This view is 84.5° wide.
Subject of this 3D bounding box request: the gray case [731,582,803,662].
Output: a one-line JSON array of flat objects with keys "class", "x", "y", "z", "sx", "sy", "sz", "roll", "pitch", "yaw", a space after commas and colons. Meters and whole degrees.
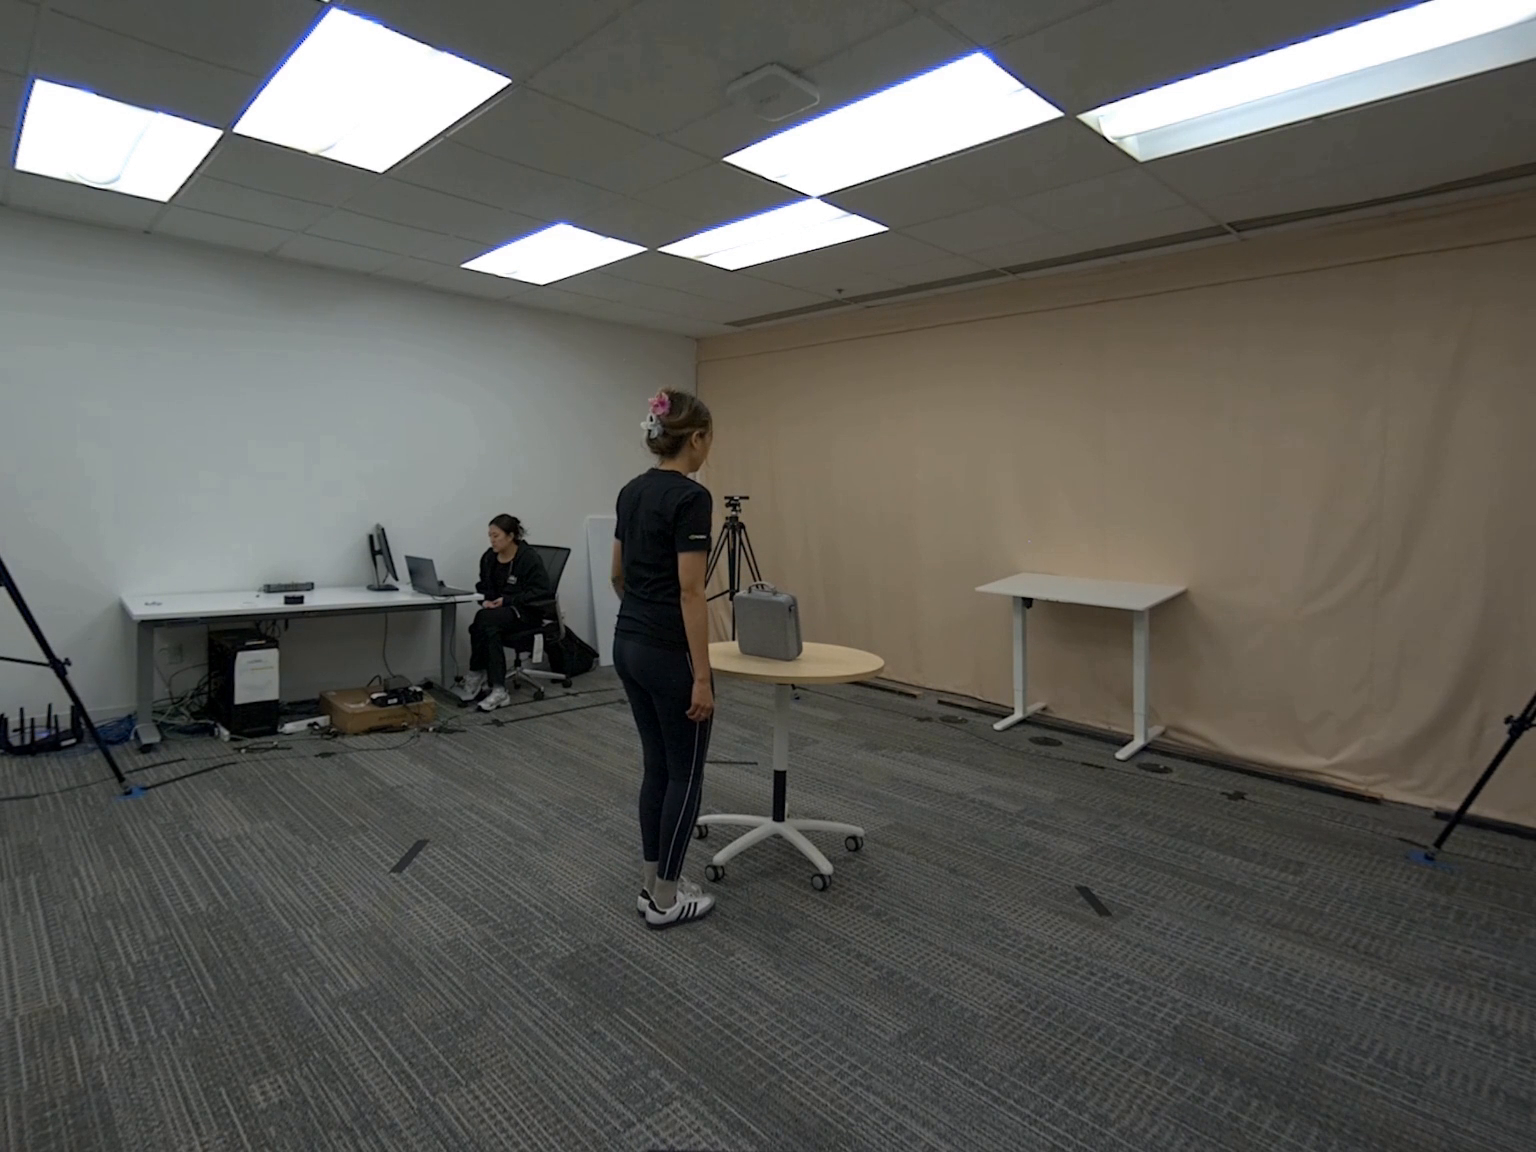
[{"class": "gray case", "x": -0.007, "y": 0.180, "z": 3.218, "sx": 0.263, "sy": 0.258, "sz": 0.103, "roll": 3, "pitch": 16, "yaw": 37}]
